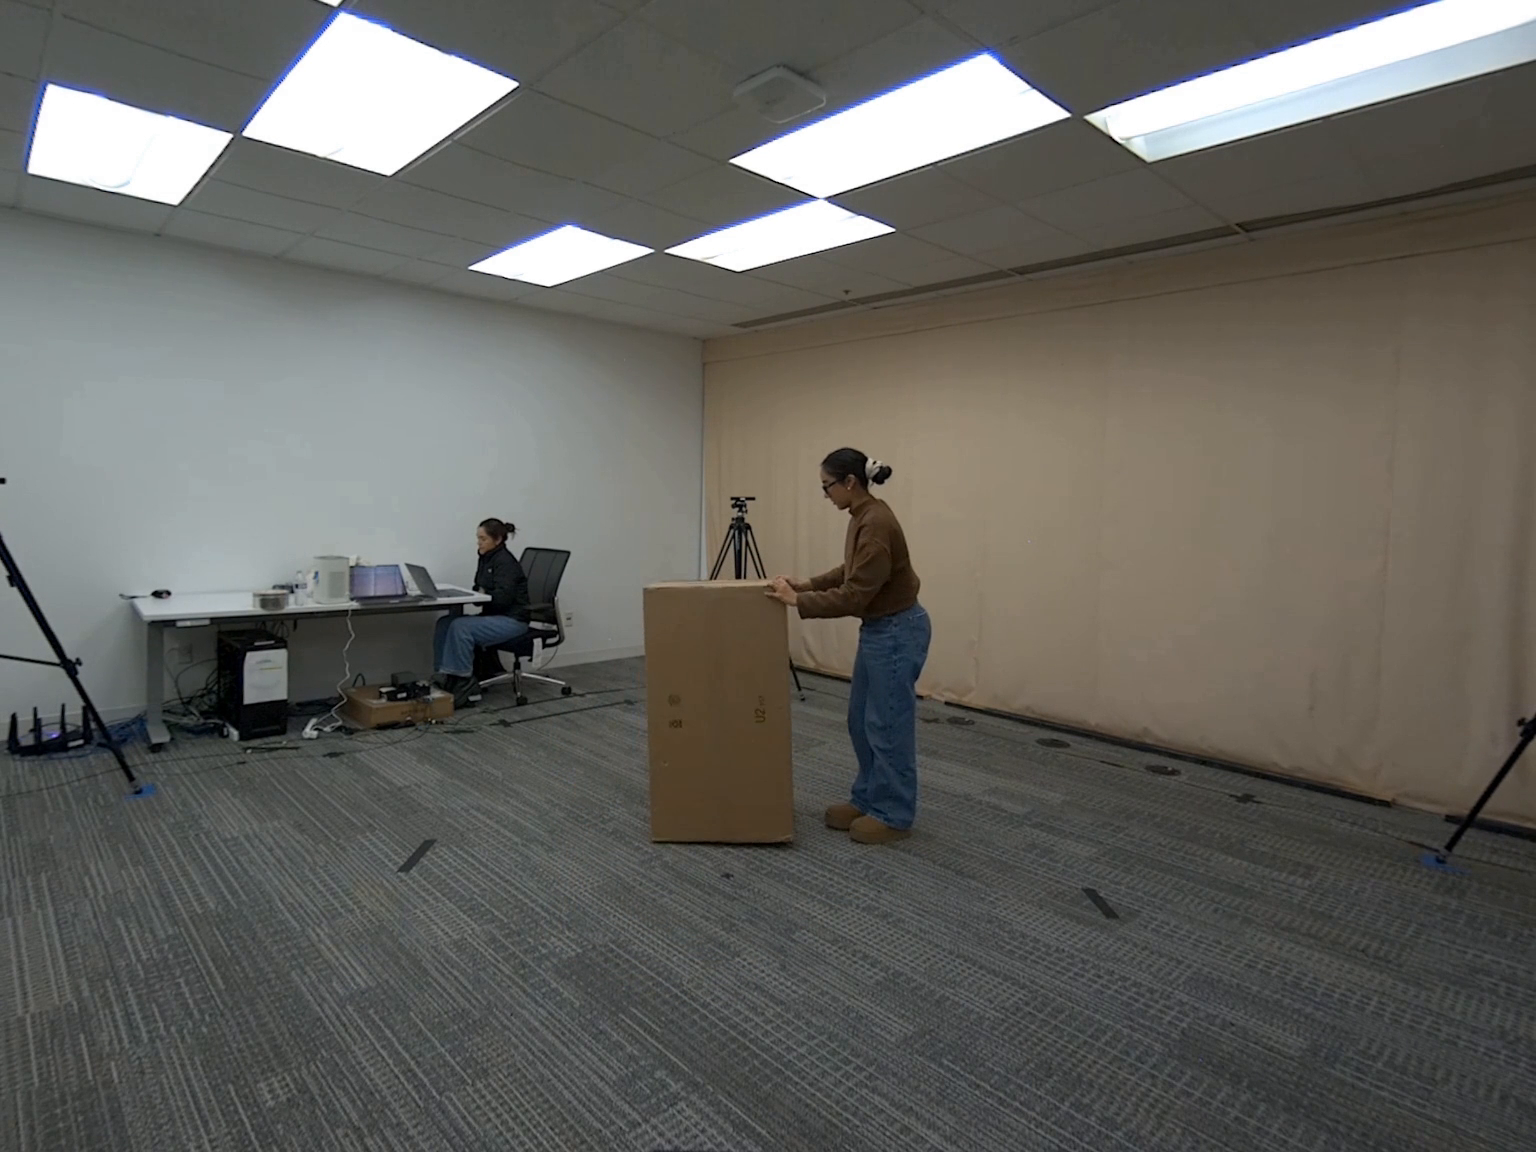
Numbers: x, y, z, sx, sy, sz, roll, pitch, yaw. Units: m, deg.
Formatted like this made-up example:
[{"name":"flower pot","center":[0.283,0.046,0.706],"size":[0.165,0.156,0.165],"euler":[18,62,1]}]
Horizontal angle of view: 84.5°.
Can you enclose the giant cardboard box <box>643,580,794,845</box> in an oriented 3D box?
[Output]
[{"name":"giant cardboard box","center":[-0.196,0.546,3.564],"size":[0.585,1.026,0.446],"euler":[-2,2,3]}]
